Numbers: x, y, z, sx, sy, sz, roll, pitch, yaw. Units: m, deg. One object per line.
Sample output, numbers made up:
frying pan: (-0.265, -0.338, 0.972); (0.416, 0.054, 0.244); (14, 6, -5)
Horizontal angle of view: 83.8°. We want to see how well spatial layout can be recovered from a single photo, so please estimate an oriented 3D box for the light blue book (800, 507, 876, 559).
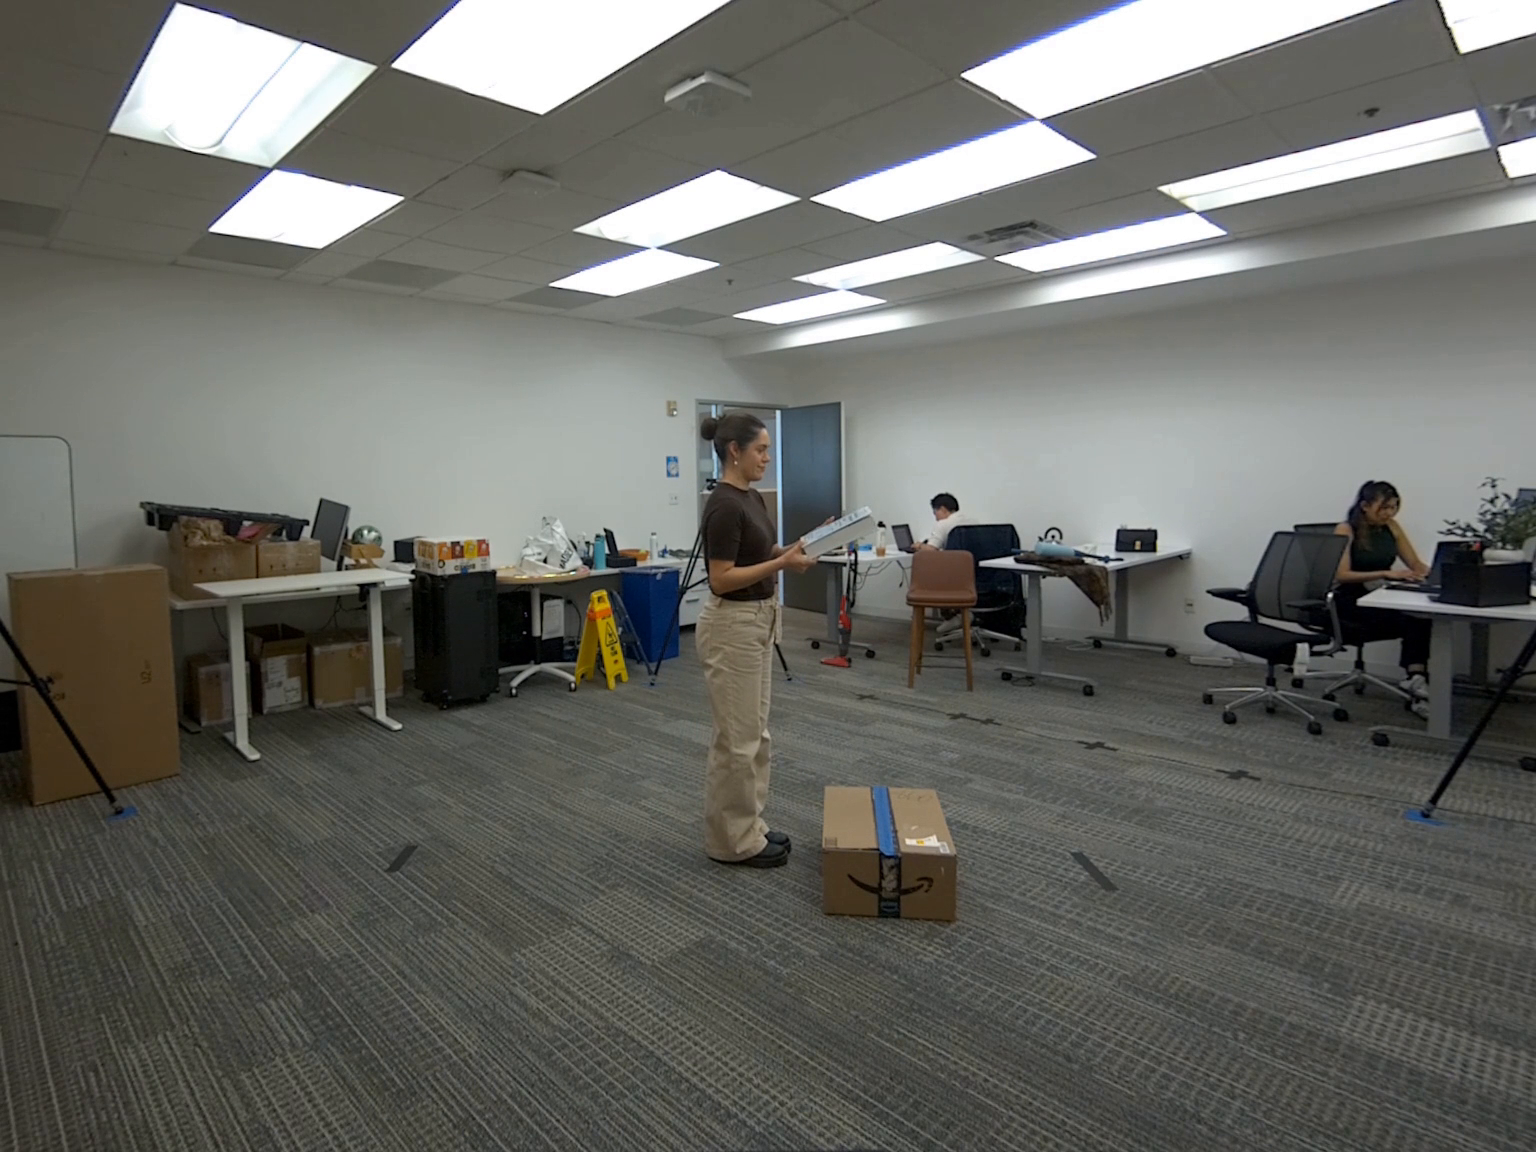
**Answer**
light blue book: (0.245, -0.150, 2.927); (0.262, 0.058, 0.193); (-24, 11, 8)
